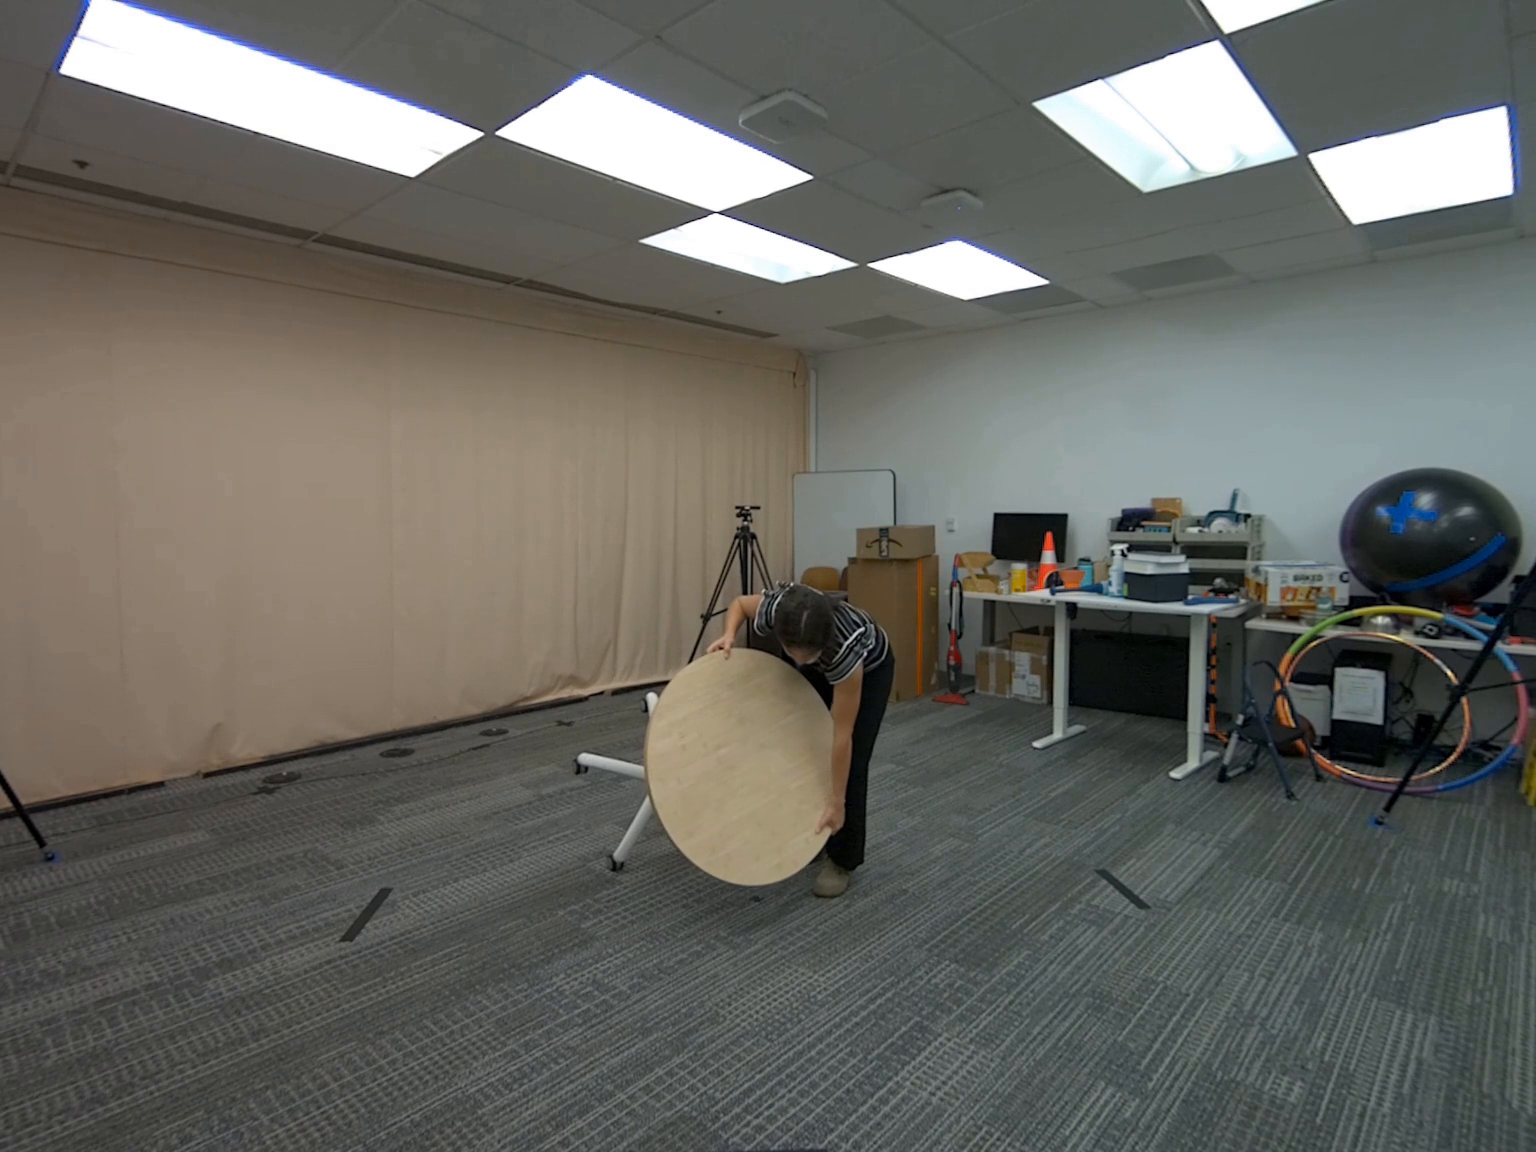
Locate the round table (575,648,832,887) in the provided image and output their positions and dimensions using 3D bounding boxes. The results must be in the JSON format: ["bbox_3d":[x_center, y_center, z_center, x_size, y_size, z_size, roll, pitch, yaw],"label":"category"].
[{"bbox_3d":[-0.270,0.726,3.124,0.742,0.773,0.808,-2,-16,-34],"label":"round table"}]
